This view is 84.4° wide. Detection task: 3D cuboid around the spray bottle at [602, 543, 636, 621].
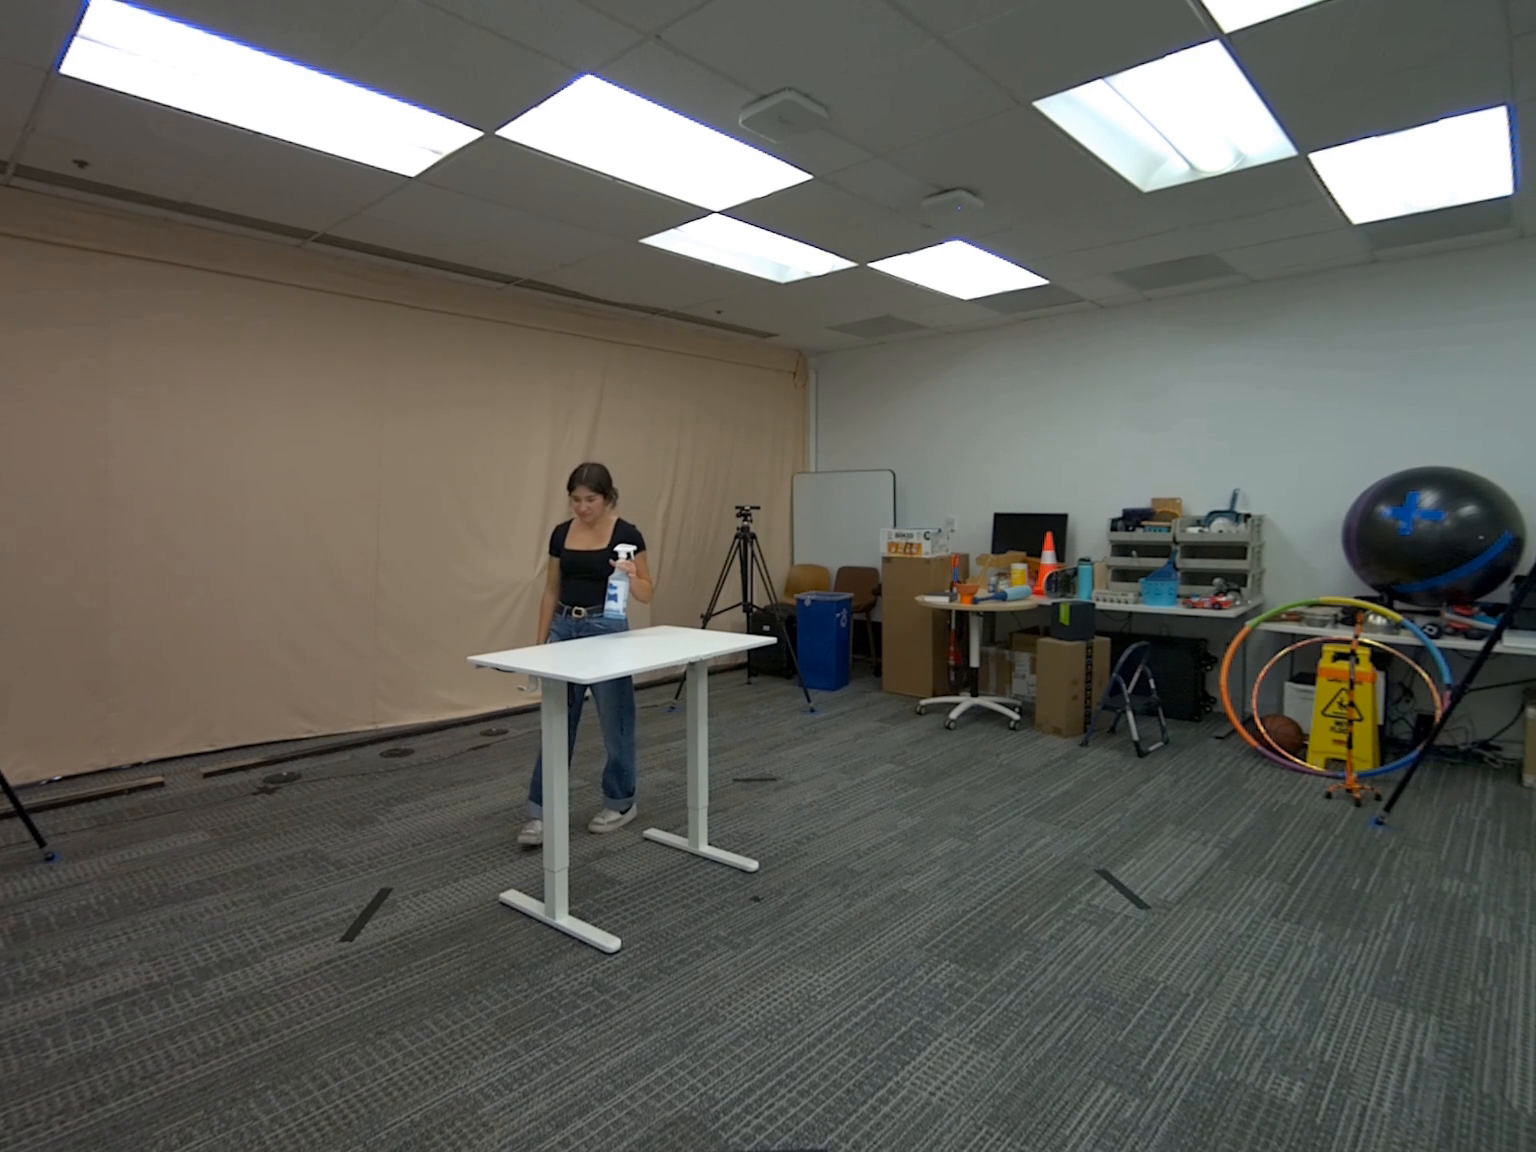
[{"bbox_3d":[-0.594,0.020,3.337,0.090,0.298,0.087,7,-8,-4],"label":"spray bottle"}]
